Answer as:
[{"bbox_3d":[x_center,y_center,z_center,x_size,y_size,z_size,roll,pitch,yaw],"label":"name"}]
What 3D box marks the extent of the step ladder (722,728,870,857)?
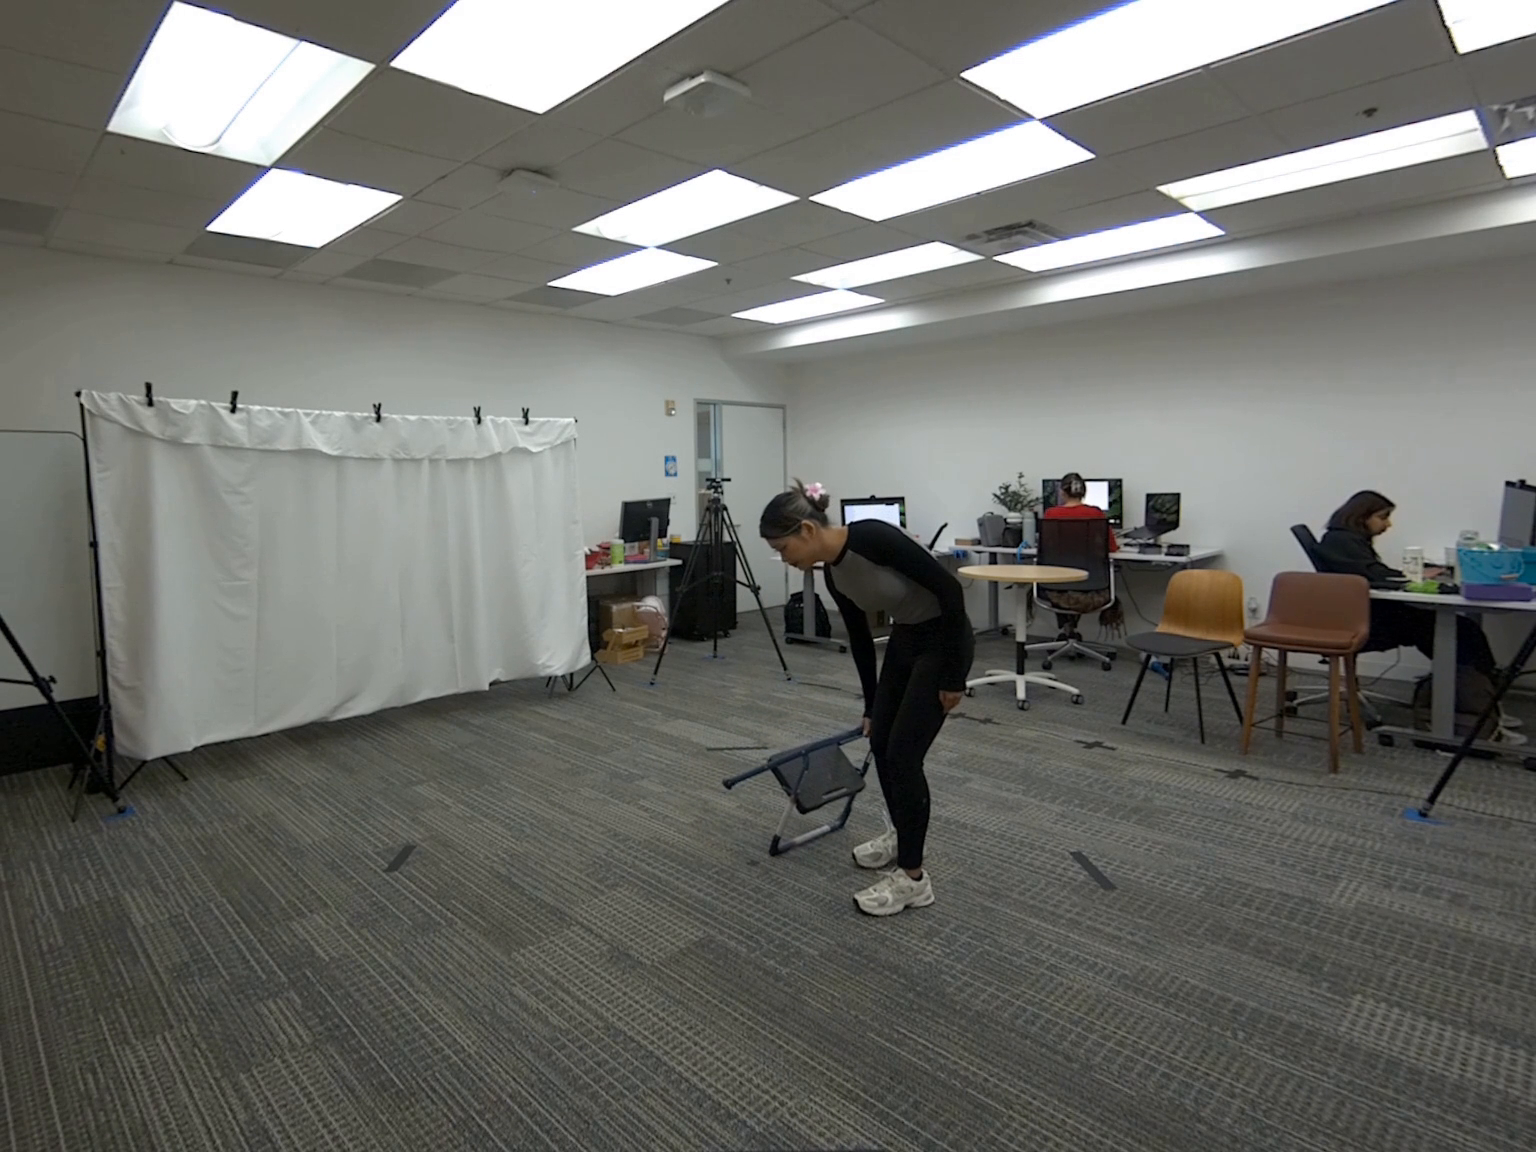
[{"bbox_3d":[0.197,0.693,3.222,0.419,0.601,0.361,-6,48,-44],"label":"step ladder"}]
